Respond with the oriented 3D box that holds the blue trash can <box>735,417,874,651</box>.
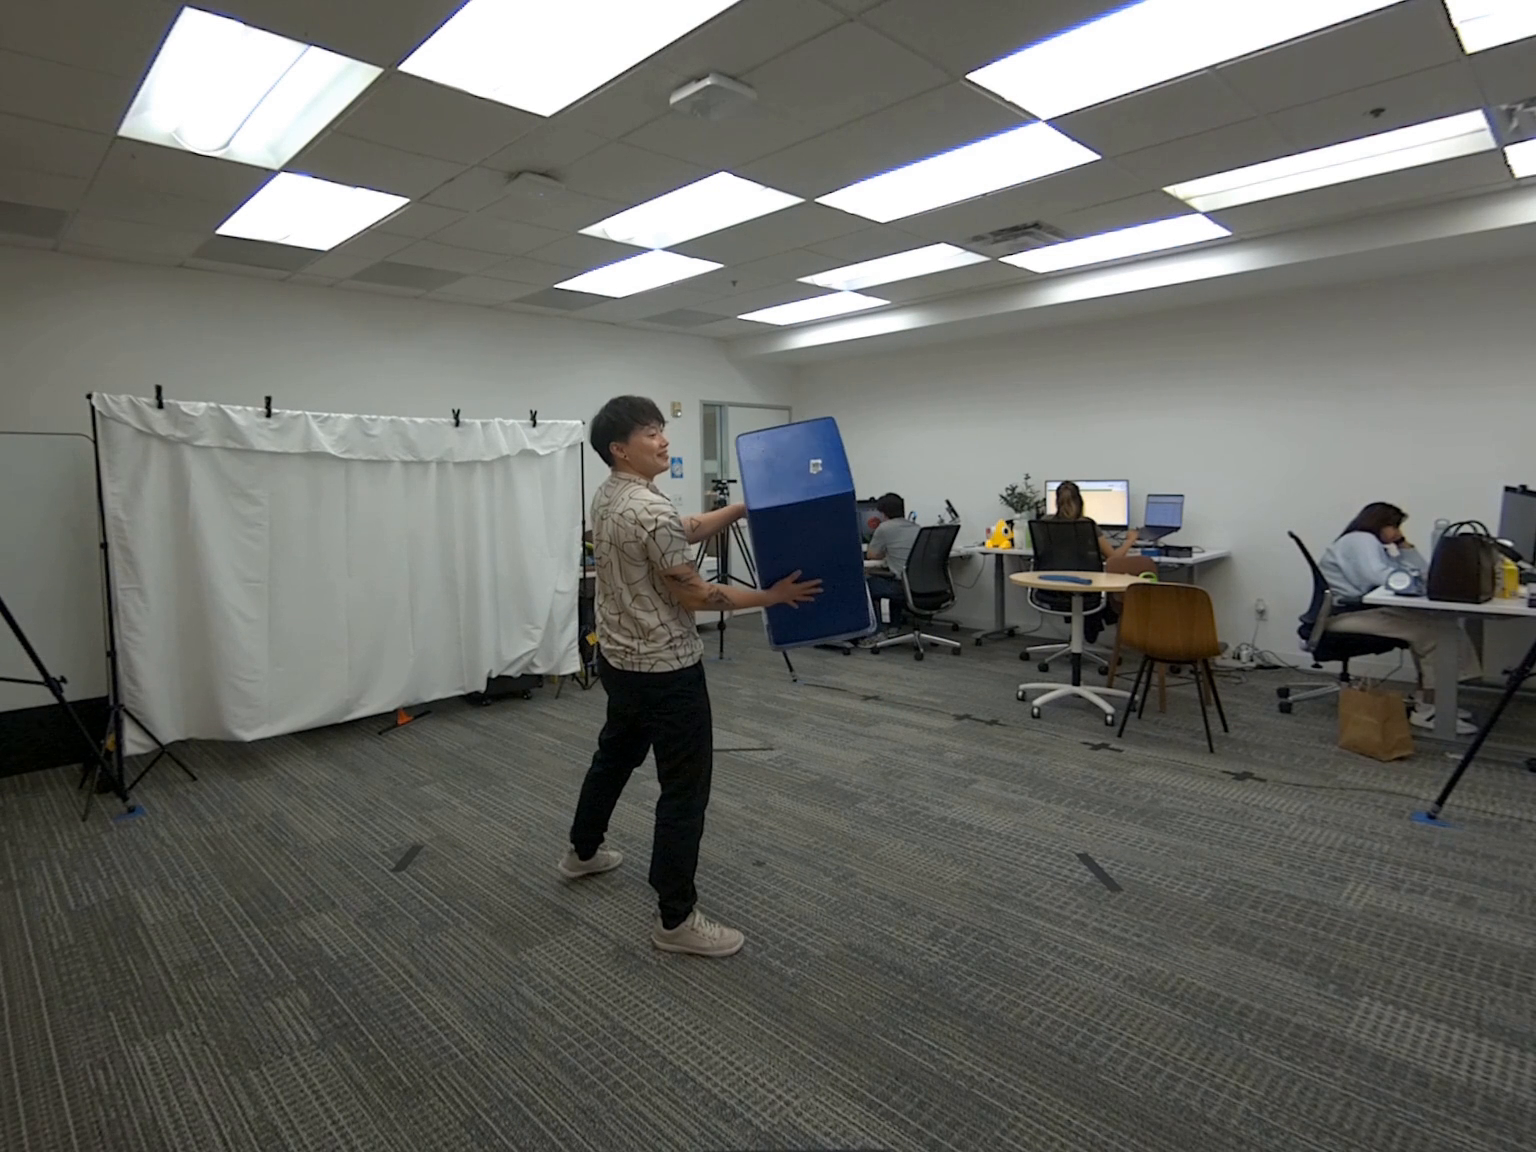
[{"bbox_3d":[0.122,-0.130,2.703,0.379,0.385,0.690,-10,-38,3],"label":"blue trash can"}]
